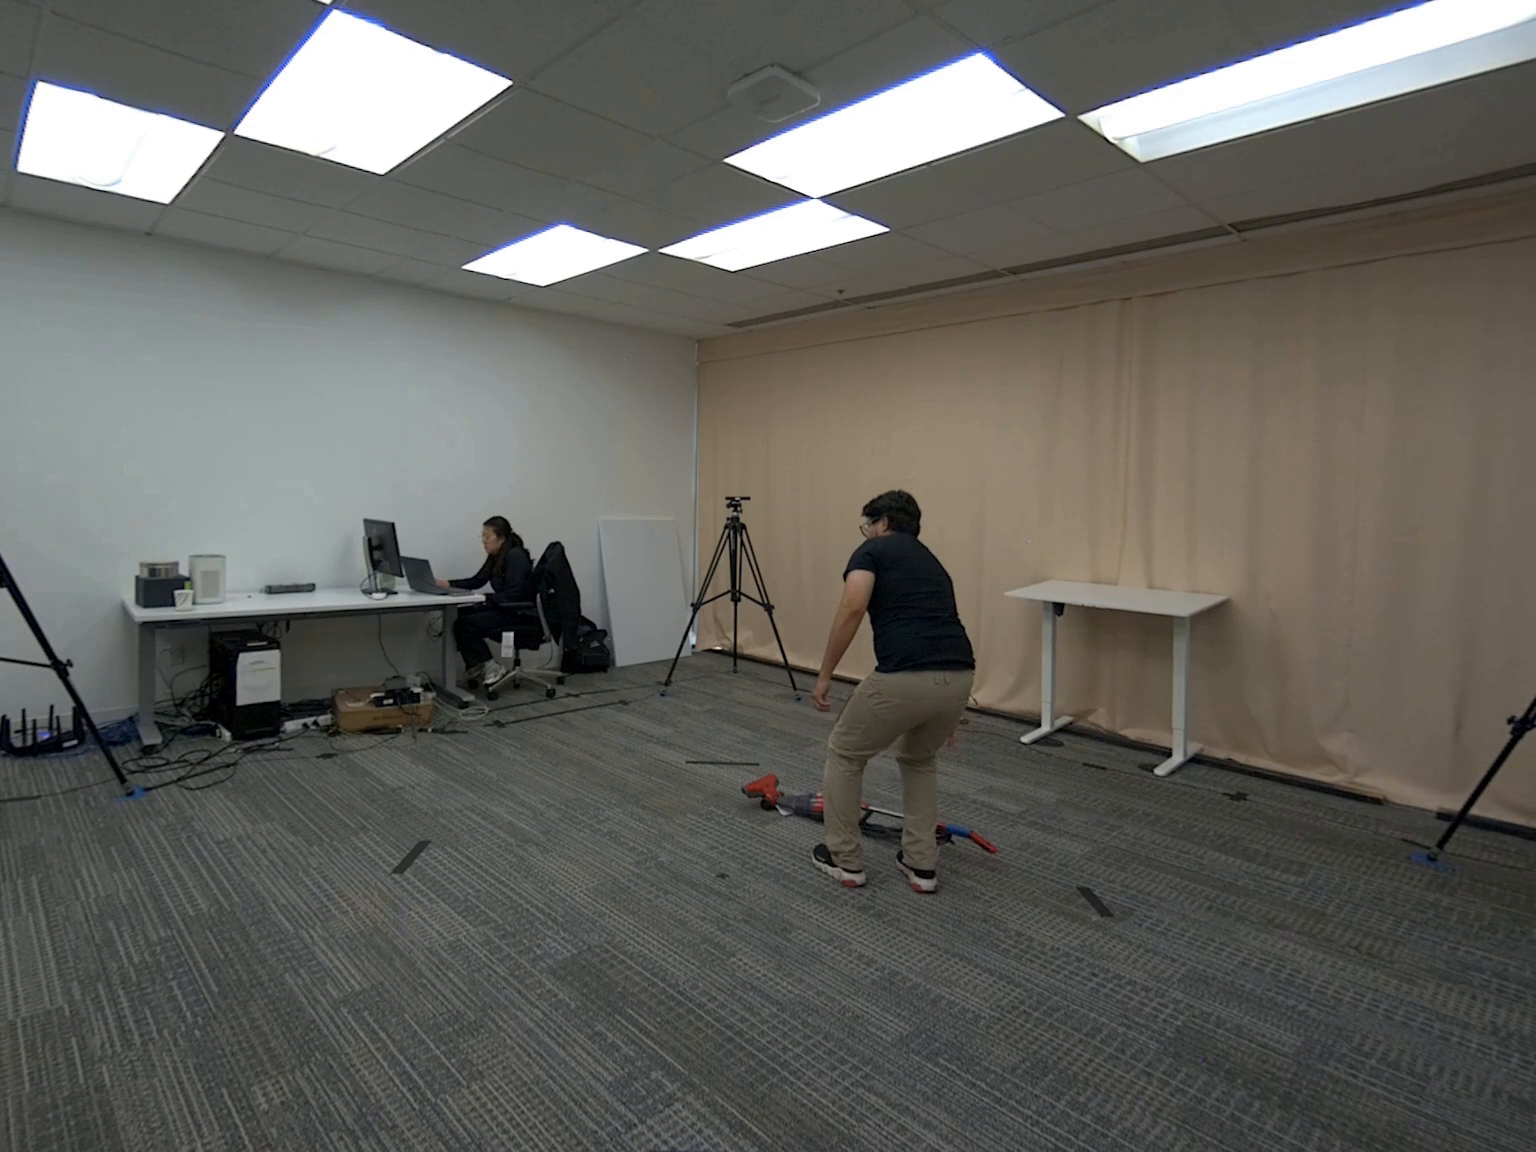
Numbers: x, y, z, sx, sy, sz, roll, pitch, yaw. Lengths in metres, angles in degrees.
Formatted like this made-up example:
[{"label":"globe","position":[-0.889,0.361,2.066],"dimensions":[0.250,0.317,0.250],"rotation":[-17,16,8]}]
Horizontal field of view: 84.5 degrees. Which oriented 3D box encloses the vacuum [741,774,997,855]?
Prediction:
[{"label":"vacuum","position":[0.412,1.026,3.546],"dimensions":[1.074,0.143,0.247],"rotation":[4,7,35]}]
